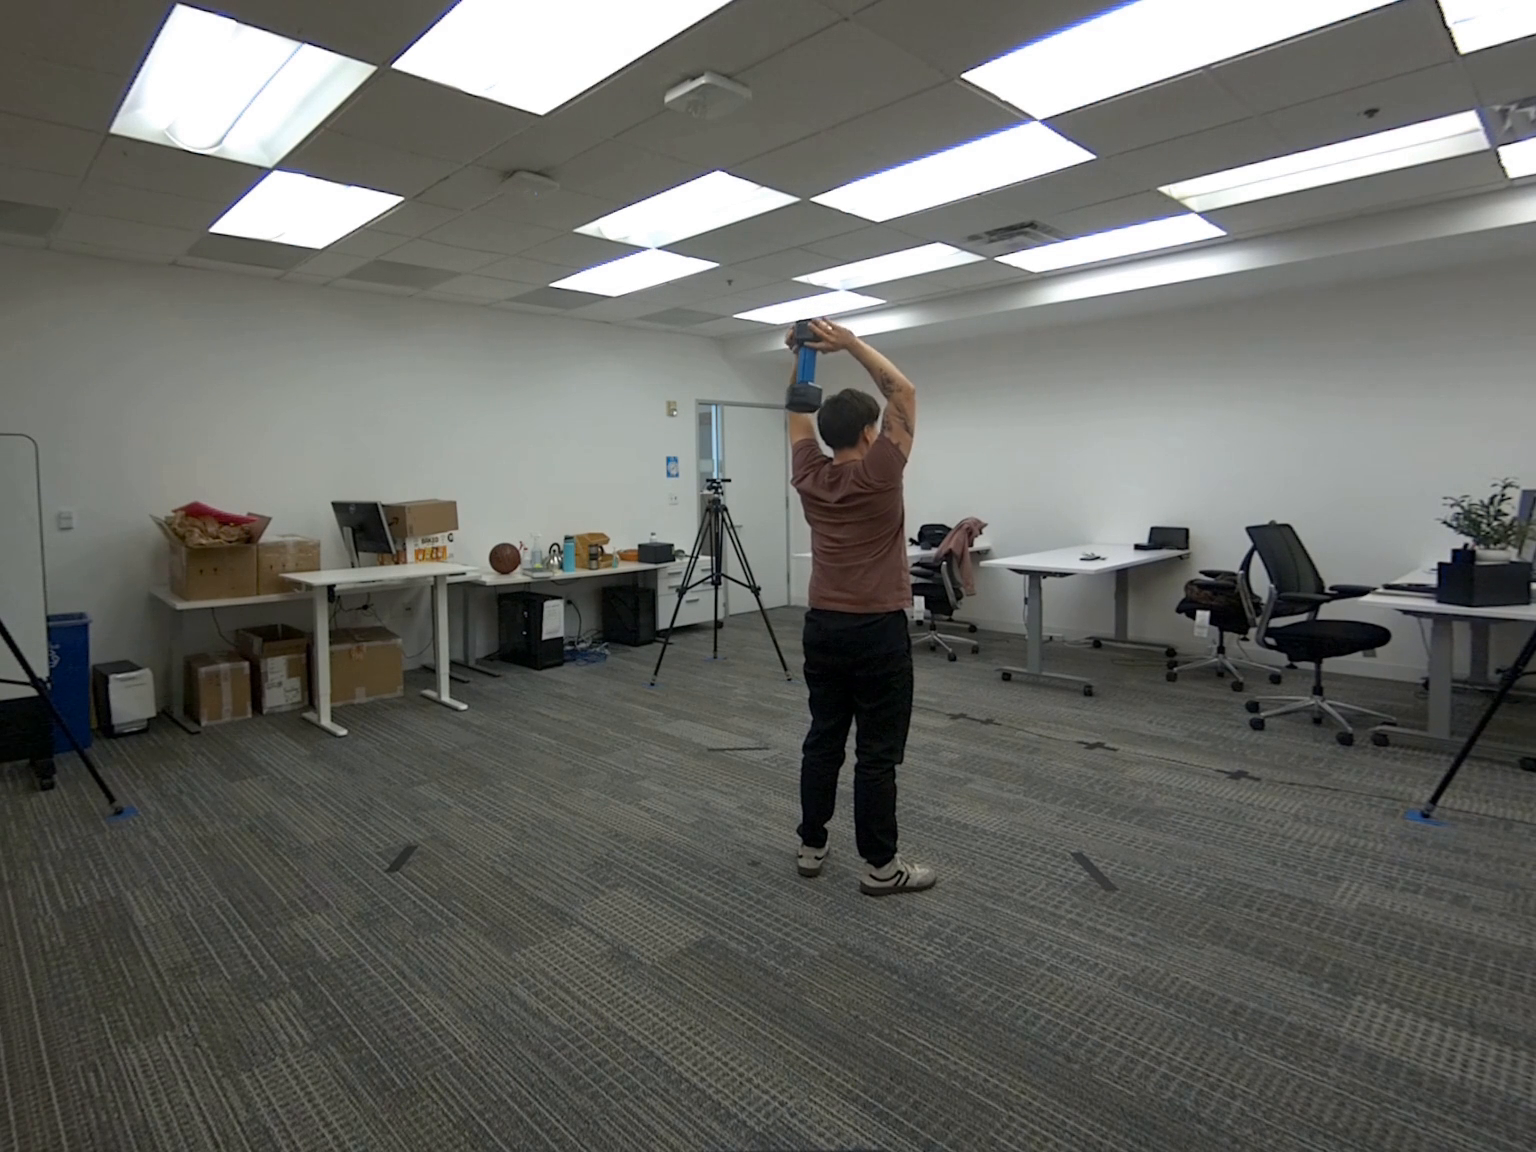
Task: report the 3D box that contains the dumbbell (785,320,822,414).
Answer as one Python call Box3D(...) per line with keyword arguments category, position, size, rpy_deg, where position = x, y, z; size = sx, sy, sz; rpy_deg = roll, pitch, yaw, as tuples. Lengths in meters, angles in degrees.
Box3D(category="dumbbell", position=(0.123, -0.674, 2.785), size=(0.119, 0.295, 0.111), rpy_deg=(13, -10, -36))
